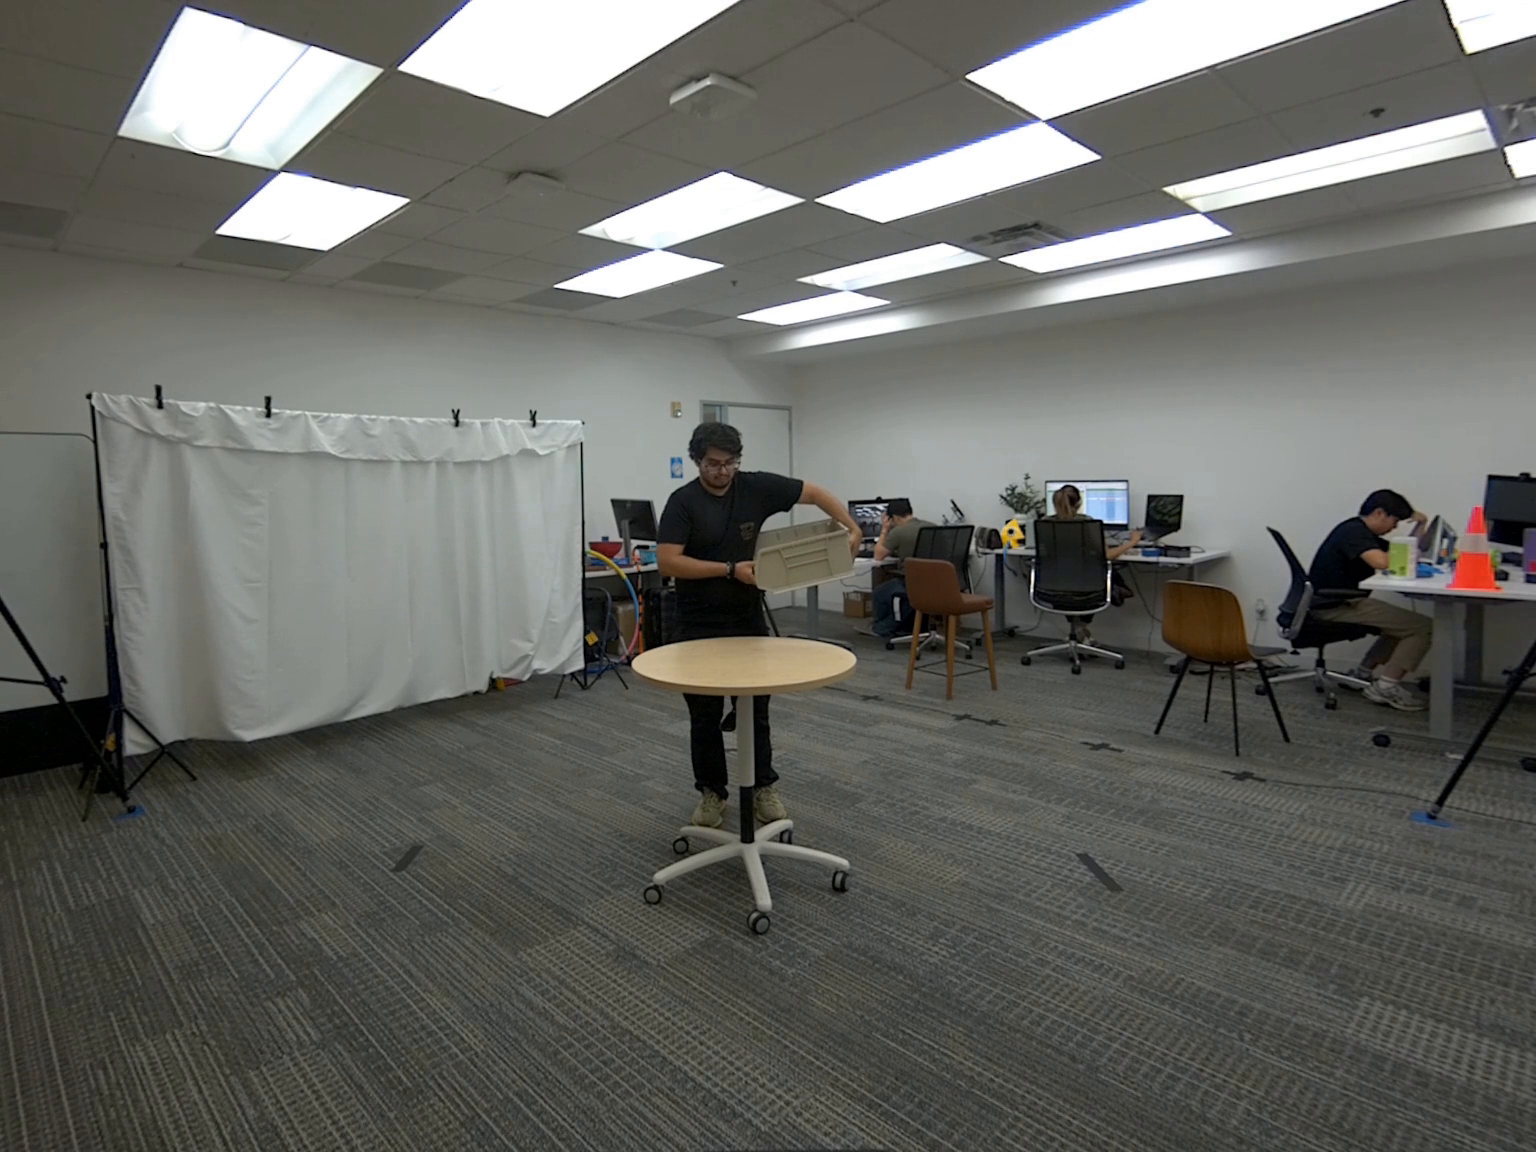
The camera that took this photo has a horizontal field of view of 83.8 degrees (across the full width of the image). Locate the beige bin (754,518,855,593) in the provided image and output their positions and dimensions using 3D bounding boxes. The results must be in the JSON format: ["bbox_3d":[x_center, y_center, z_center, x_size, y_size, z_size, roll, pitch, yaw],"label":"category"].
[{"bbox_3d":[0.120,-0.083,3.380,0.378,0.187,0.425,-10,9,2],"label":"beige bin"}]
